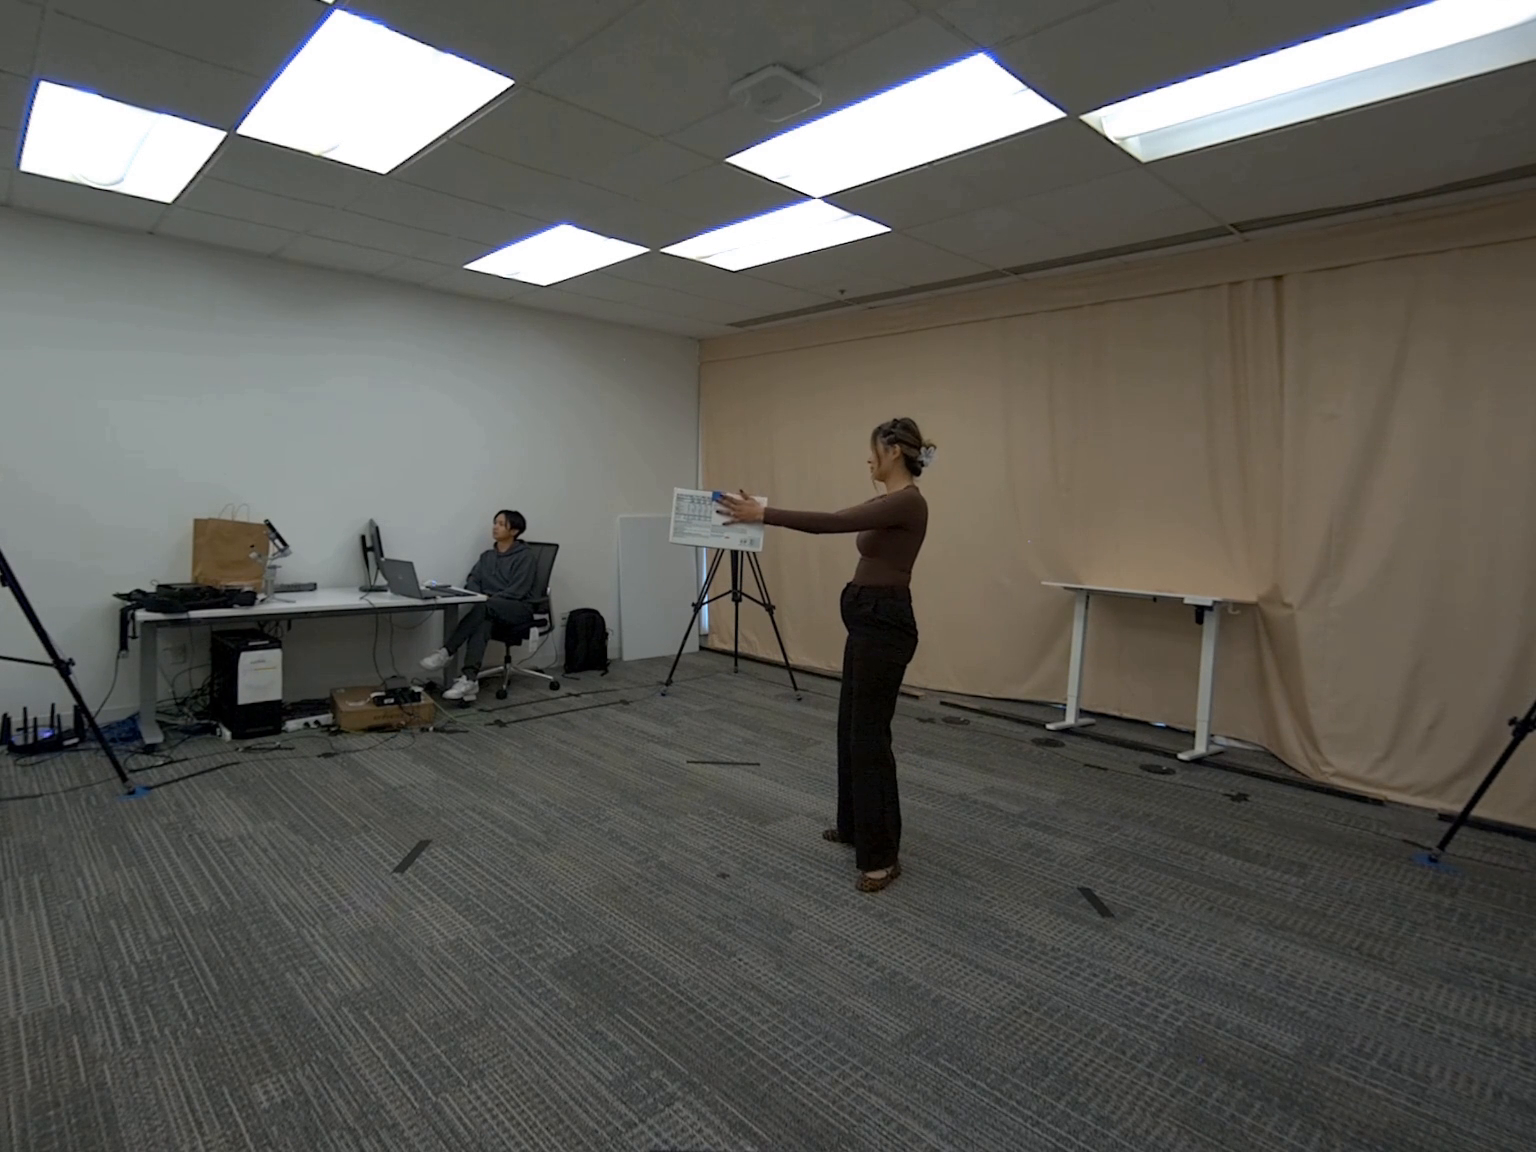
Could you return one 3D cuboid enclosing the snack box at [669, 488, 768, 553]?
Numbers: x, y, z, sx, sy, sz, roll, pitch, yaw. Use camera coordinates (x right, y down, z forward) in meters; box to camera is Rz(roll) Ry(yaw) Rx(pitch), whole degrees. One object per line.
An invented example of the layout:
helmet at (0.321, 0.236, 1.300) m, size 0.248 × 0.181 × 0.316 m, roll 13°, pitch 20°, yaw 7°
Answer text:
snack box at (-0.190, -0.213, 3.228) m, size 0.340 × 0.205 × 0.405 m, roll 6°, pitch 3°, yaw 0°
